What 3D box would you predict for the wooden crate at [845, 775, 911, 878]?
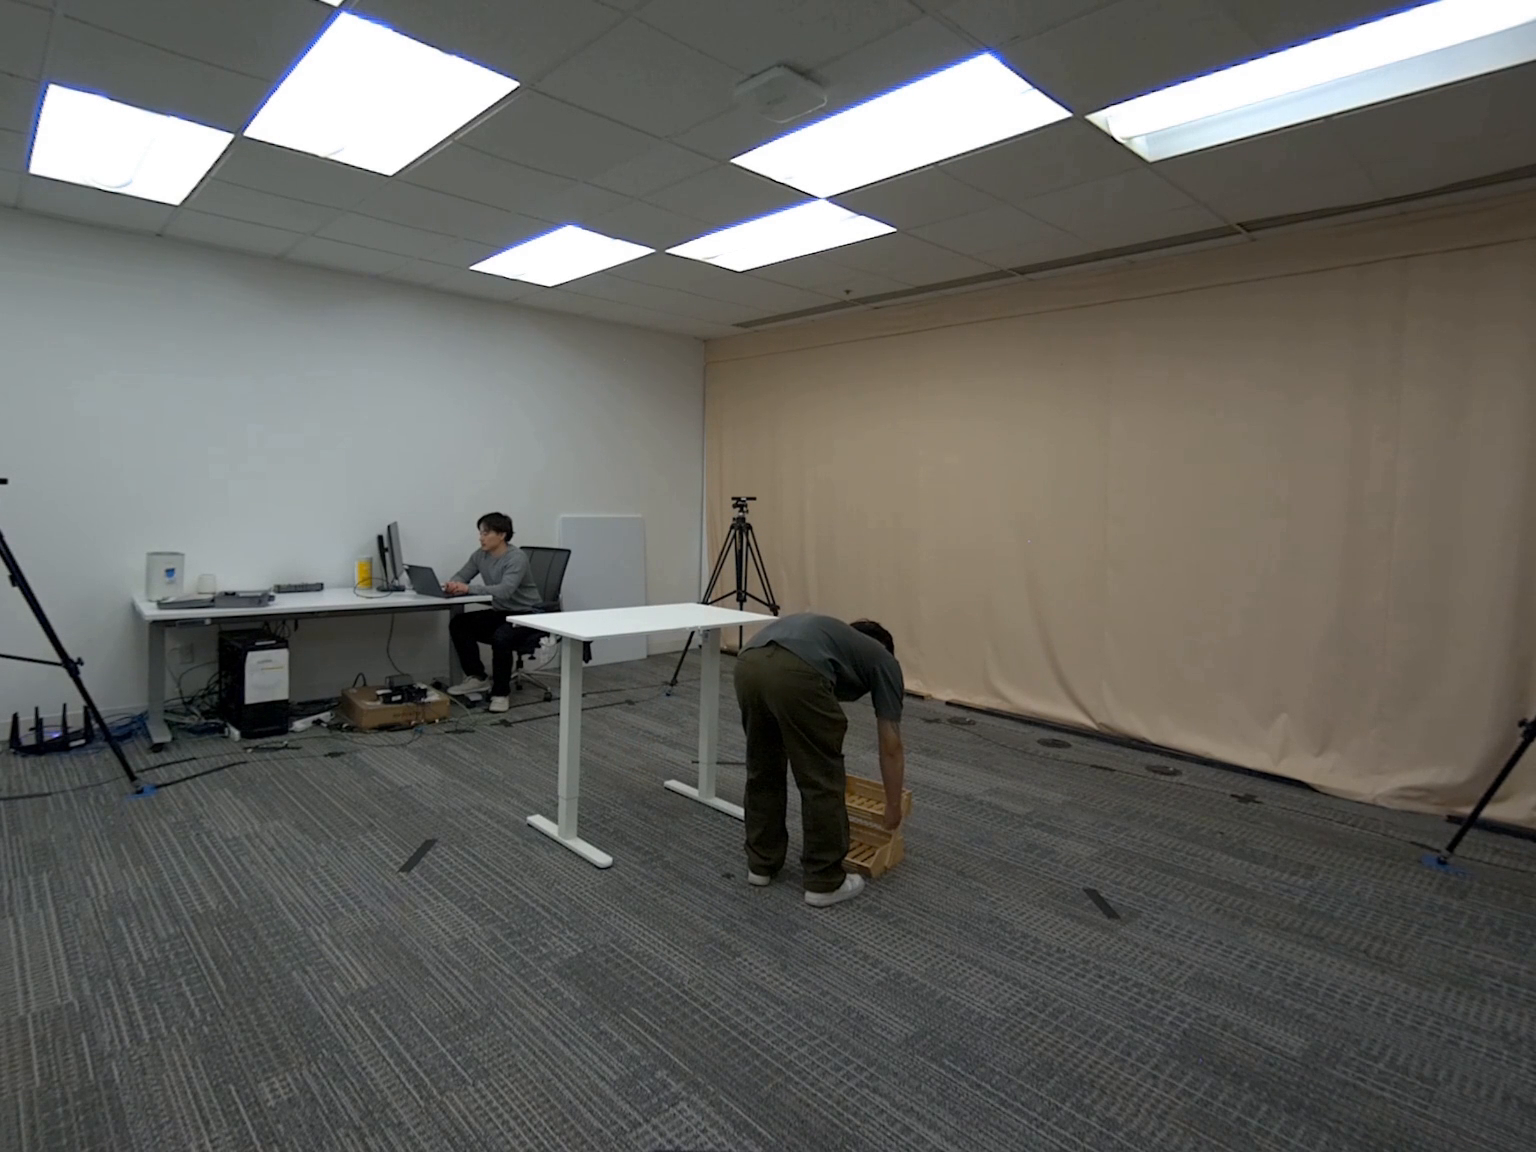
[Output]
[{"bbox_3d":[0.344,0.967,3.302,0.332,0.273,0.295,4,4,39],"label":"wooden crate"}]
